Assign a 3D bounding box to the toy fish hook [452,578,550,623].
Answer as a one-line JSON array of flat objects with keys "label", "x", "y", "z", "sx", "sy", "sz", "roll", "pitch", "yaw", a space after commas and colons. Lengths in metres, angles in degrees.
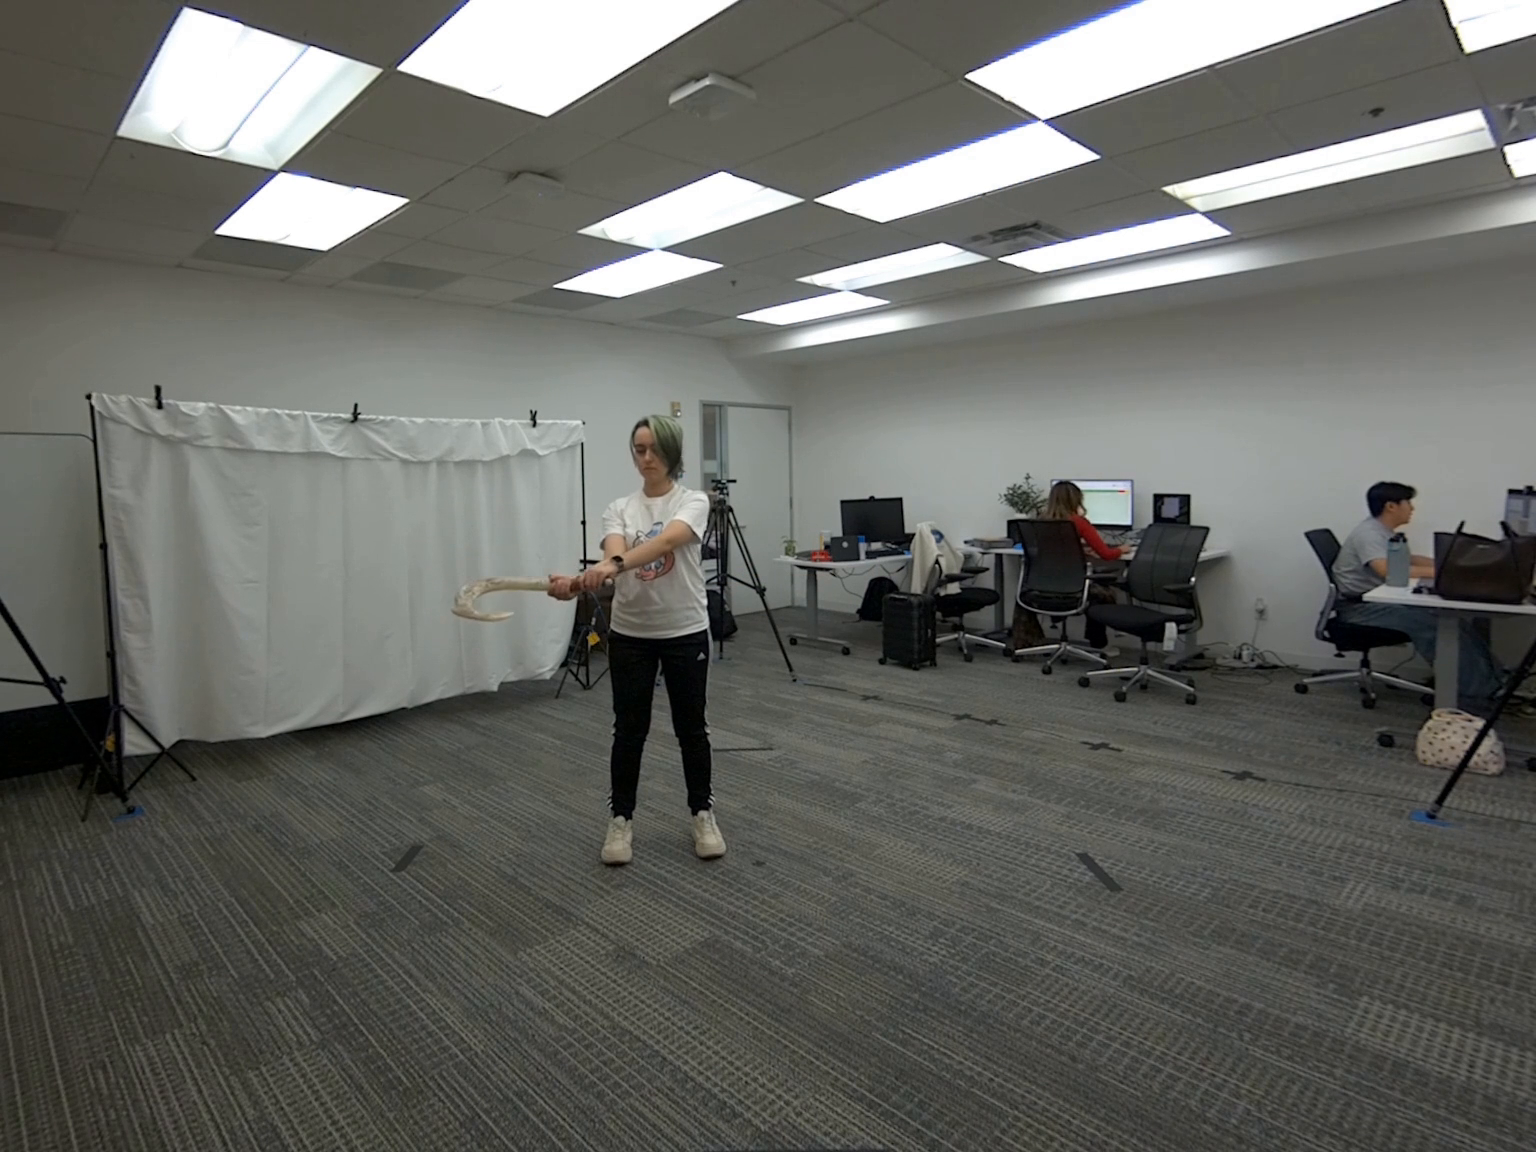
[{"label": "toy fish hook", "x": -0.718, "y": 0.063, "z": 2.698, "sx": 0.504, "sy": 0.047, "sz": 0.232, "roll": -6, "pitch": 38, "yaw": -5}]
